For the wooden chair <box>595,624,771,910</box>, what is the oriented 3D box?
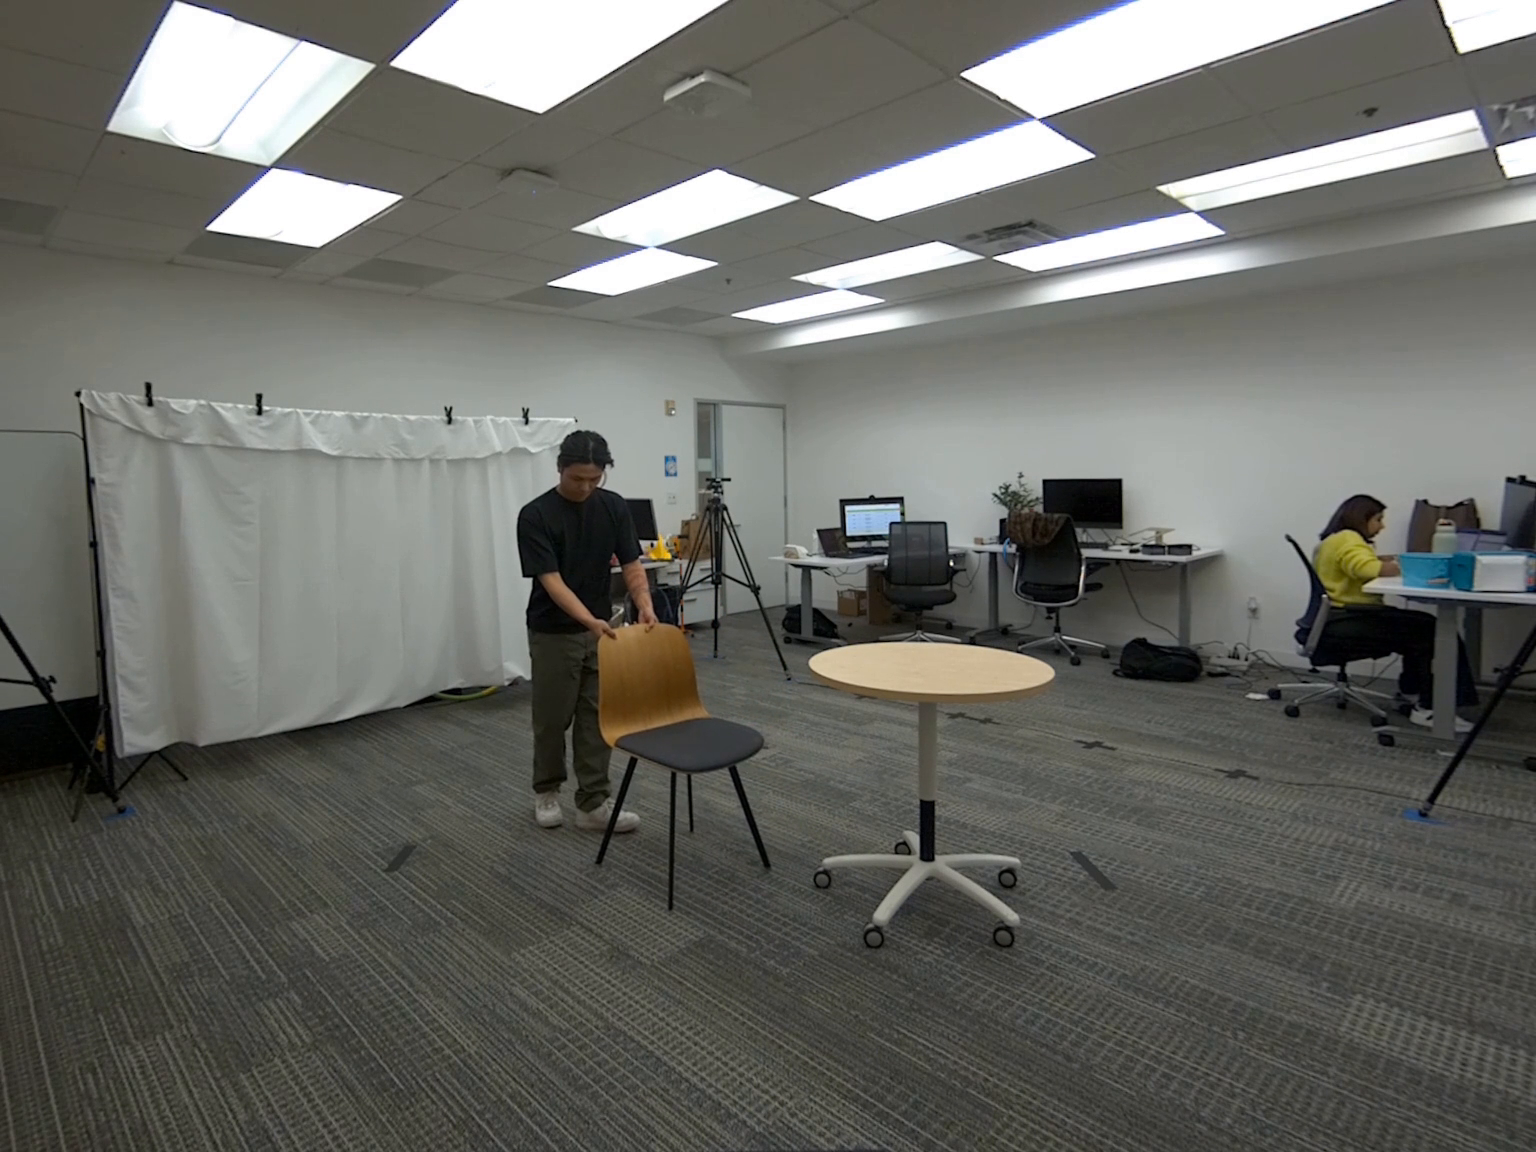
[{"bbox_3d":[-0.308,0.626,3.046,0.465,0.877,0.538,-4,2,-42],"label":"wooden chair"}]
